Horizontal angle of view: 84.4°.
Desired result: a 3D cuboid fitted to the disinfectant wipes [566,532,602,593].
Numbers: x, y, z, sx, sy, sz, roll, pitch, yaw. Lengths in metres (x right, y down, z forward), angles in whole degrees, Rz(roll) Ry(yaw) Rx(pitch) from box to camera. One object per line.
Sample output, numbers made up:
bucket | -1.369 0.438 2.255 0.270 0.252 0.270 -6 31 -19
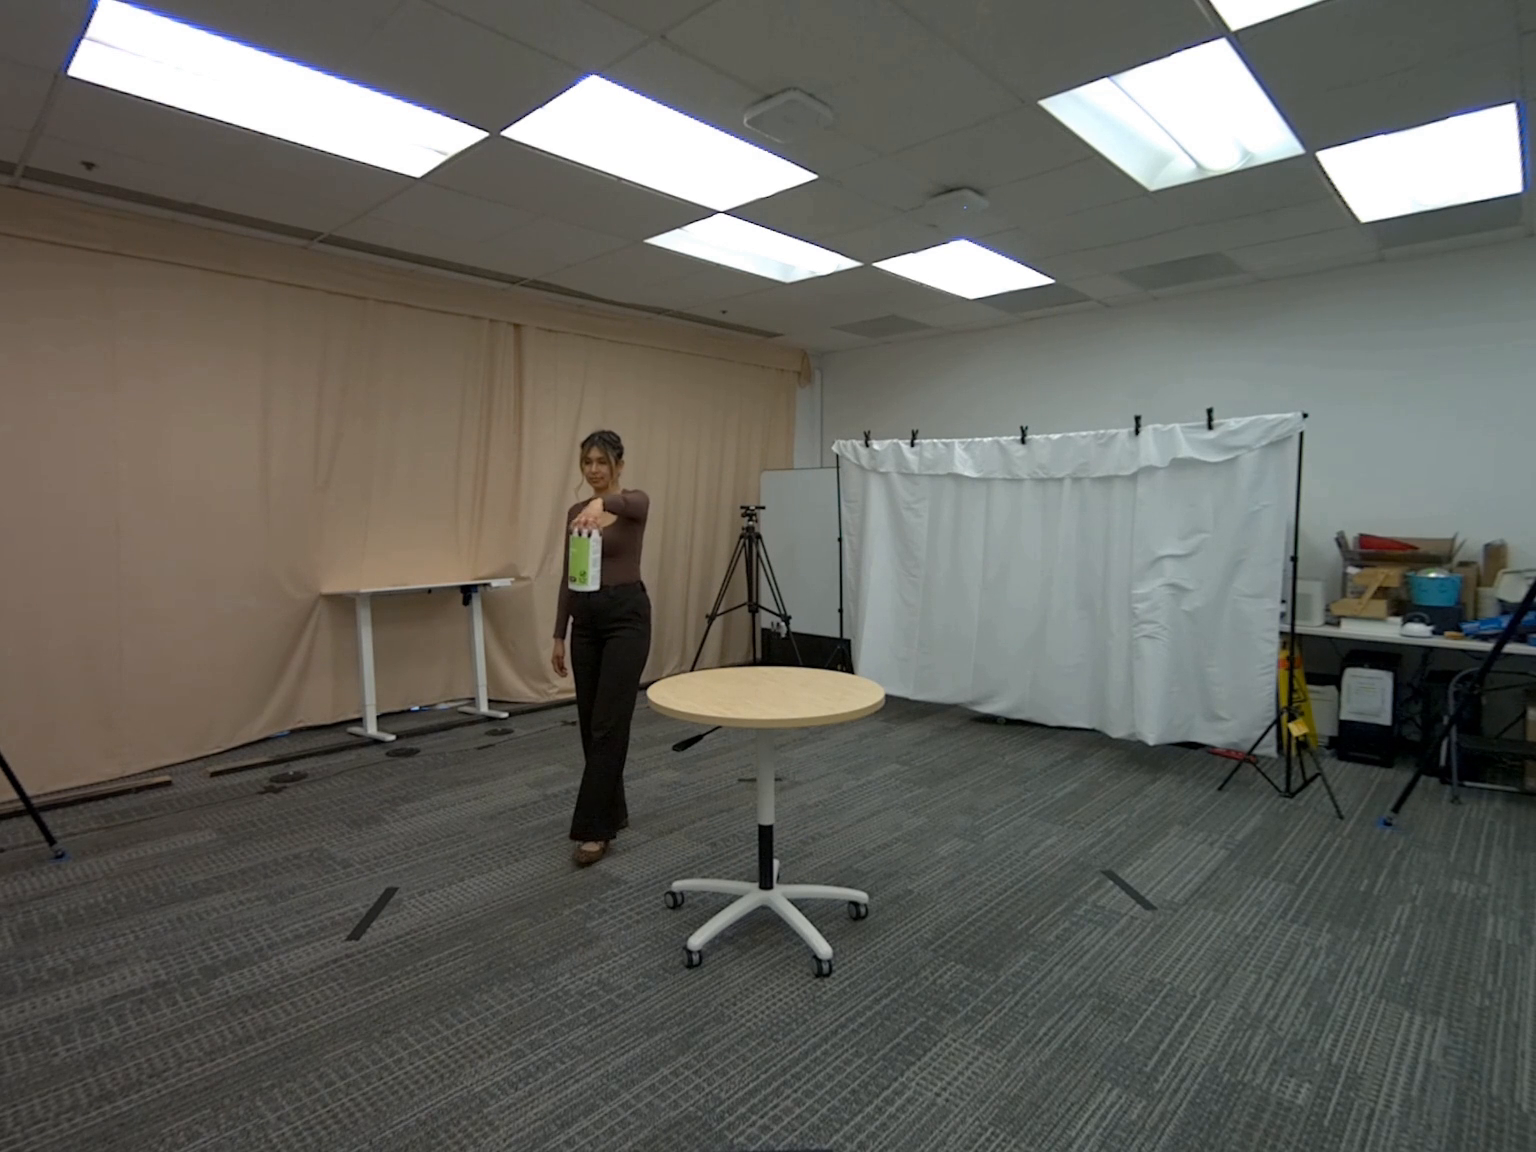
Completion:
disinfectant wipes | -0.637 -0.059 2.930 0.117 0.216 0.118 2 6 -2
